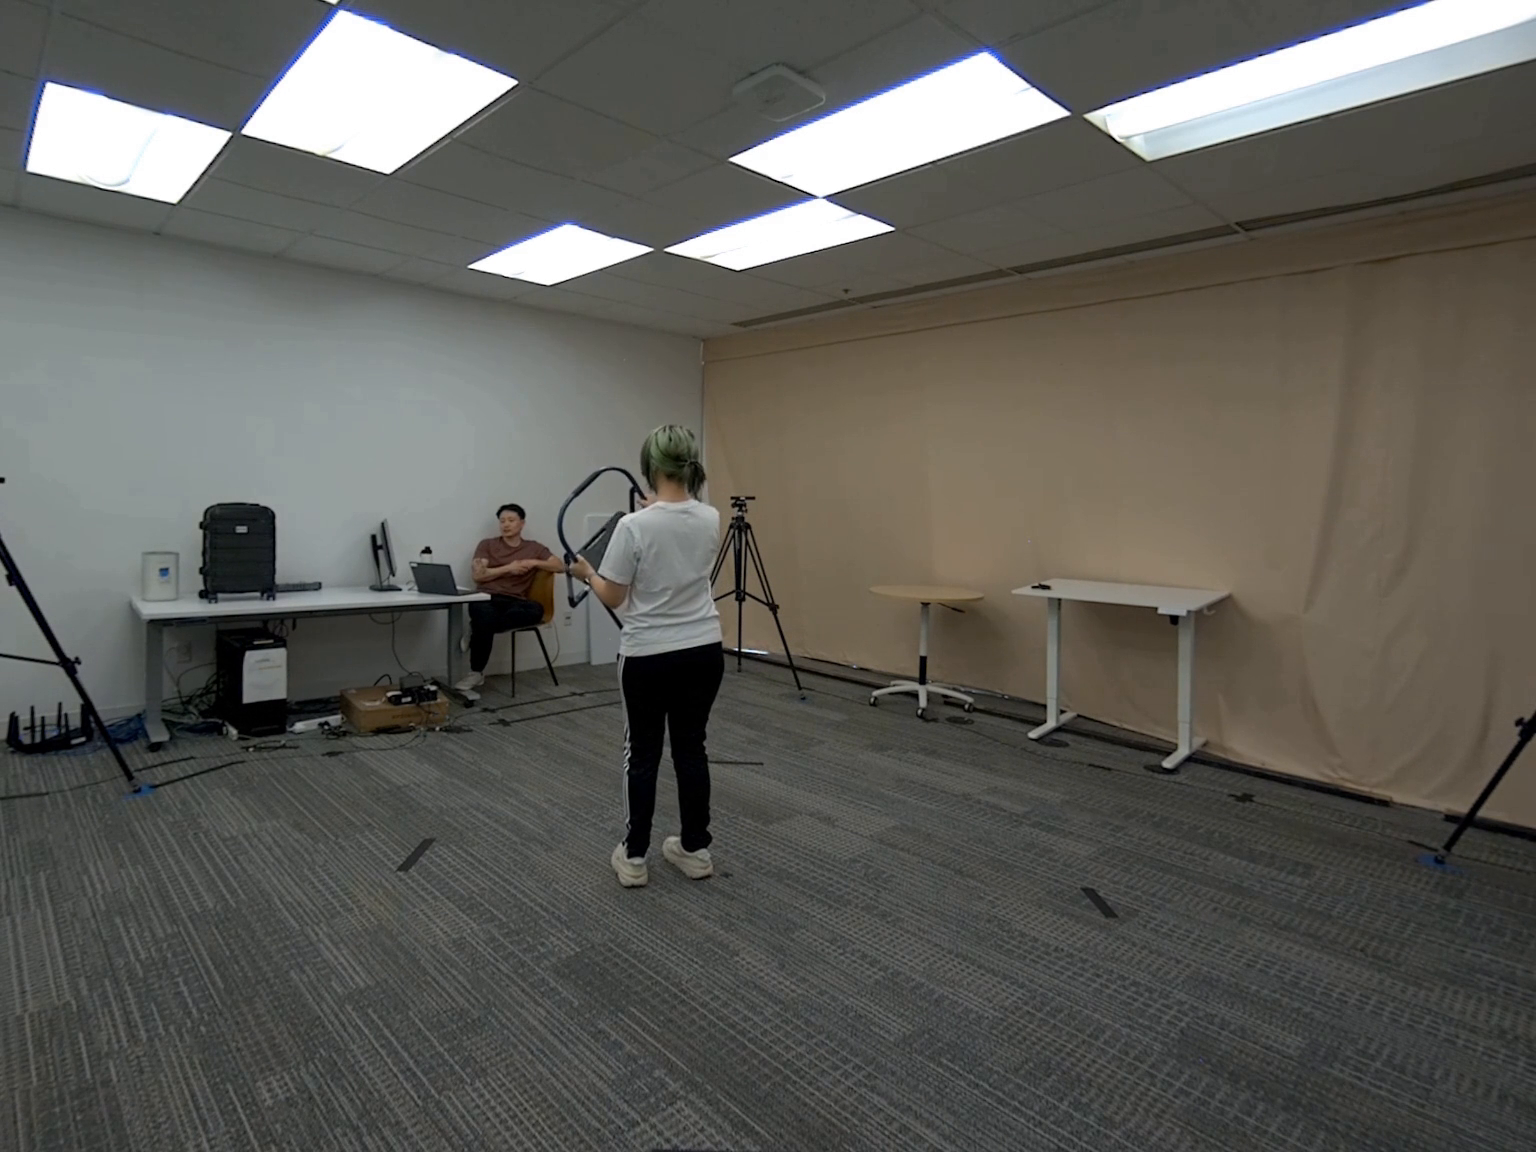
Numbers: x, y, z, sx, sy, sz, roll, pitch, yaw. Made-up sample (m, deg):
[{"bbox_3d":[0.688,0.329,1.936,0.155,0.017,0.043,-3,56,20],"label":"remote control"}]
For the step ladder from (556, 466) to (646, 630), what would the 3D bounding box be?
[{"bbox_3d":[-0.603,-0.125,3.328,0.358,0.590,0.431,24,57,25],"label":"step ladder"}]
